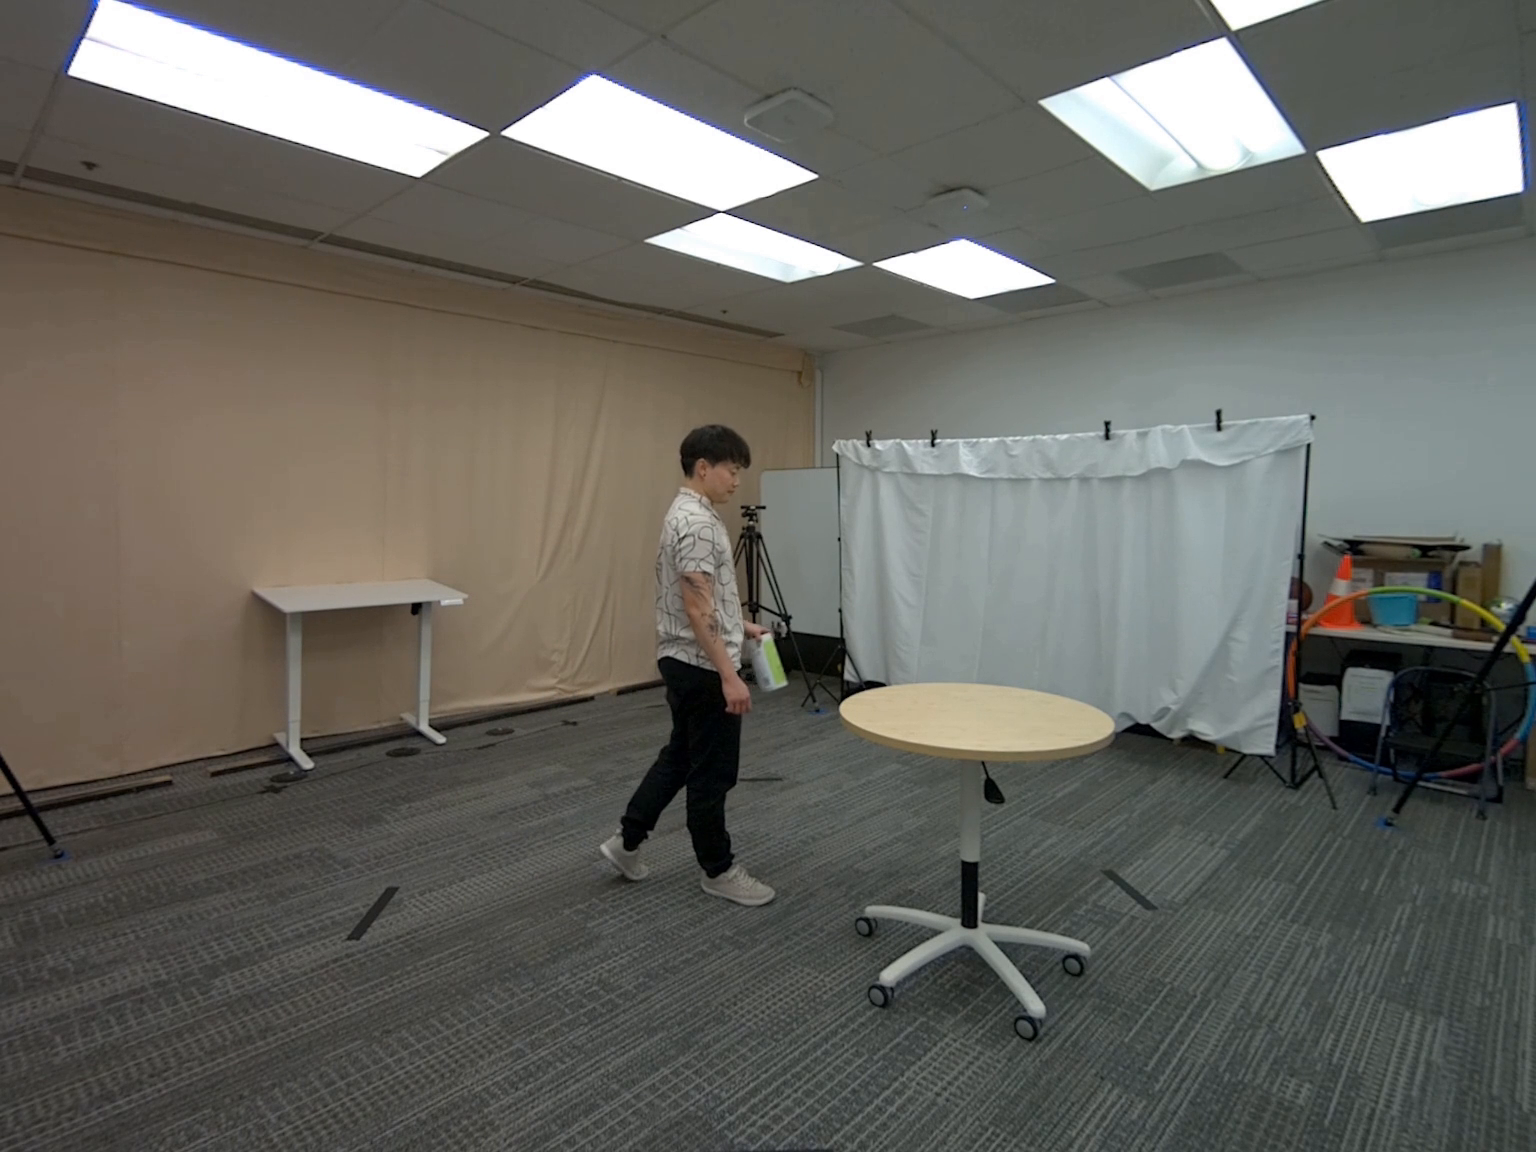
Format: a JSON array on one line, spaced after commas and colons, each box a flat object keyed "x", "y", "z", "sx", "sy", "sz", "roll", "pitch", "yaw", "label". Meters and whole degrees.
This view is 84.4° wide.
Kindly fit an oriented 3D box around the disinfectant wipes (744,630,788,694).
[{"x": -0.006, "y": 0.336, "z": 3.284, "sx": 0.117, "sy": 0.219, "sz": 0.117, "roll": -18, "pitch": -5, "yaw": -3, "label": "disinfectant wipes"}]
